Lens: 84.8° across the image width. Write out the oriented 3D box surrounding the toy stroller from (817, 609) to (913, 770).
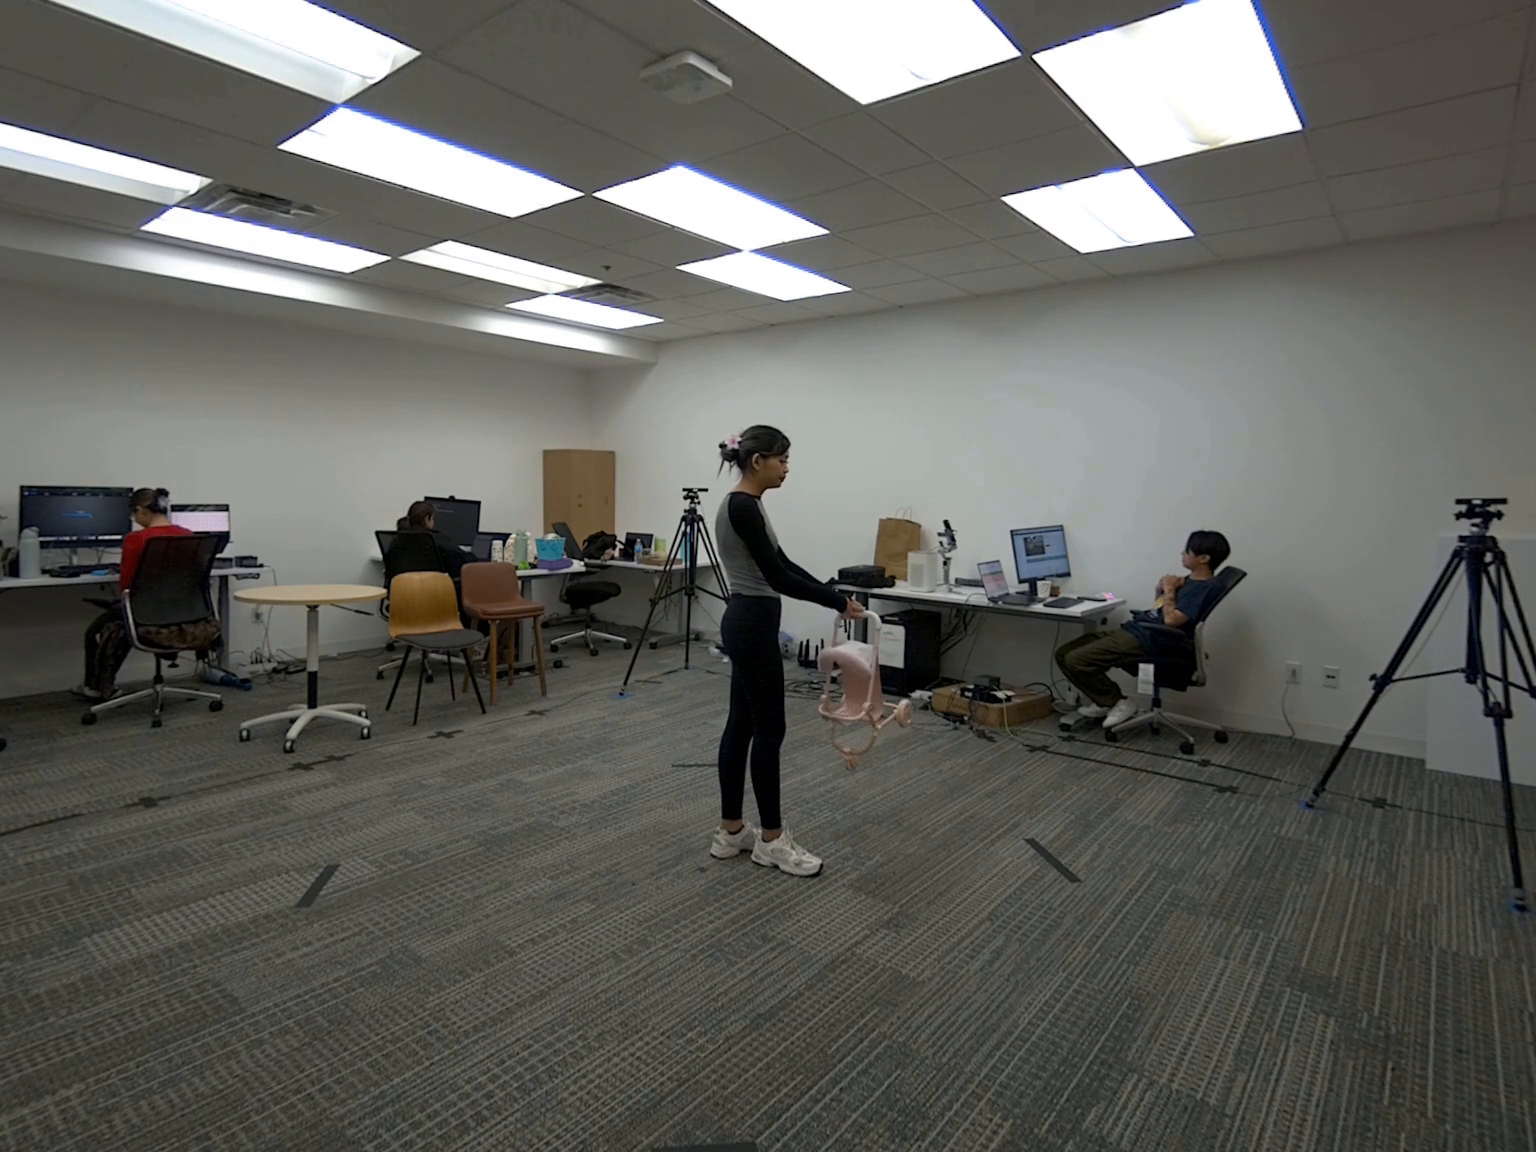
[{"bbox_3d":[0.322,0.449,3.261,0.291,0.521,0.338,5,31,42],"label":"toy stroller"}]
